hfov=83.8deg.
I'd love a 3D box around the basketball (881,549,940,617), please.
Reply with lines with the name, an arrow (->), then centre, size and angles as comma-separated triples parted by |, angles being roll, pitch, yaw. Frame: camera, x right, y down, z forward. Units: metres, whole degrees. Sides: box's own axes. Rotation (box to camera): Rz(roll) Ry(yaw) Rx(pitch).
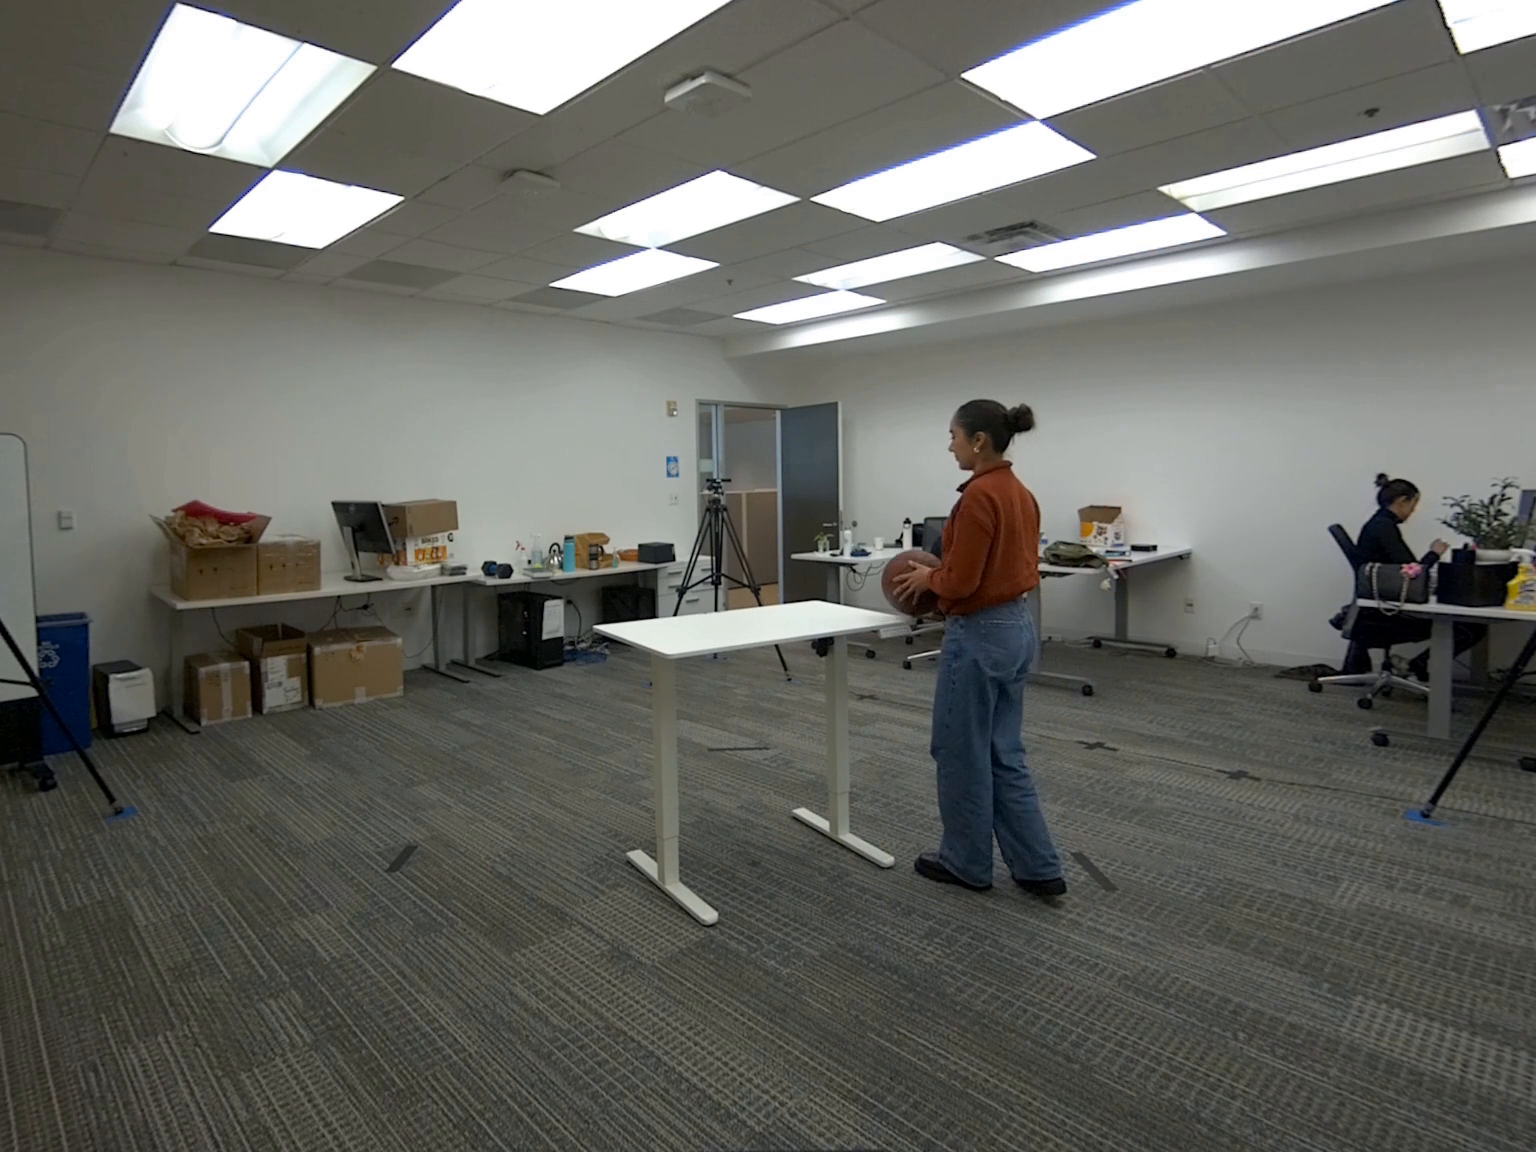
basketball -> 0.530, 0.022, 3.058 | 0.236, 0.235, 0.237 | -1, 5, -2
